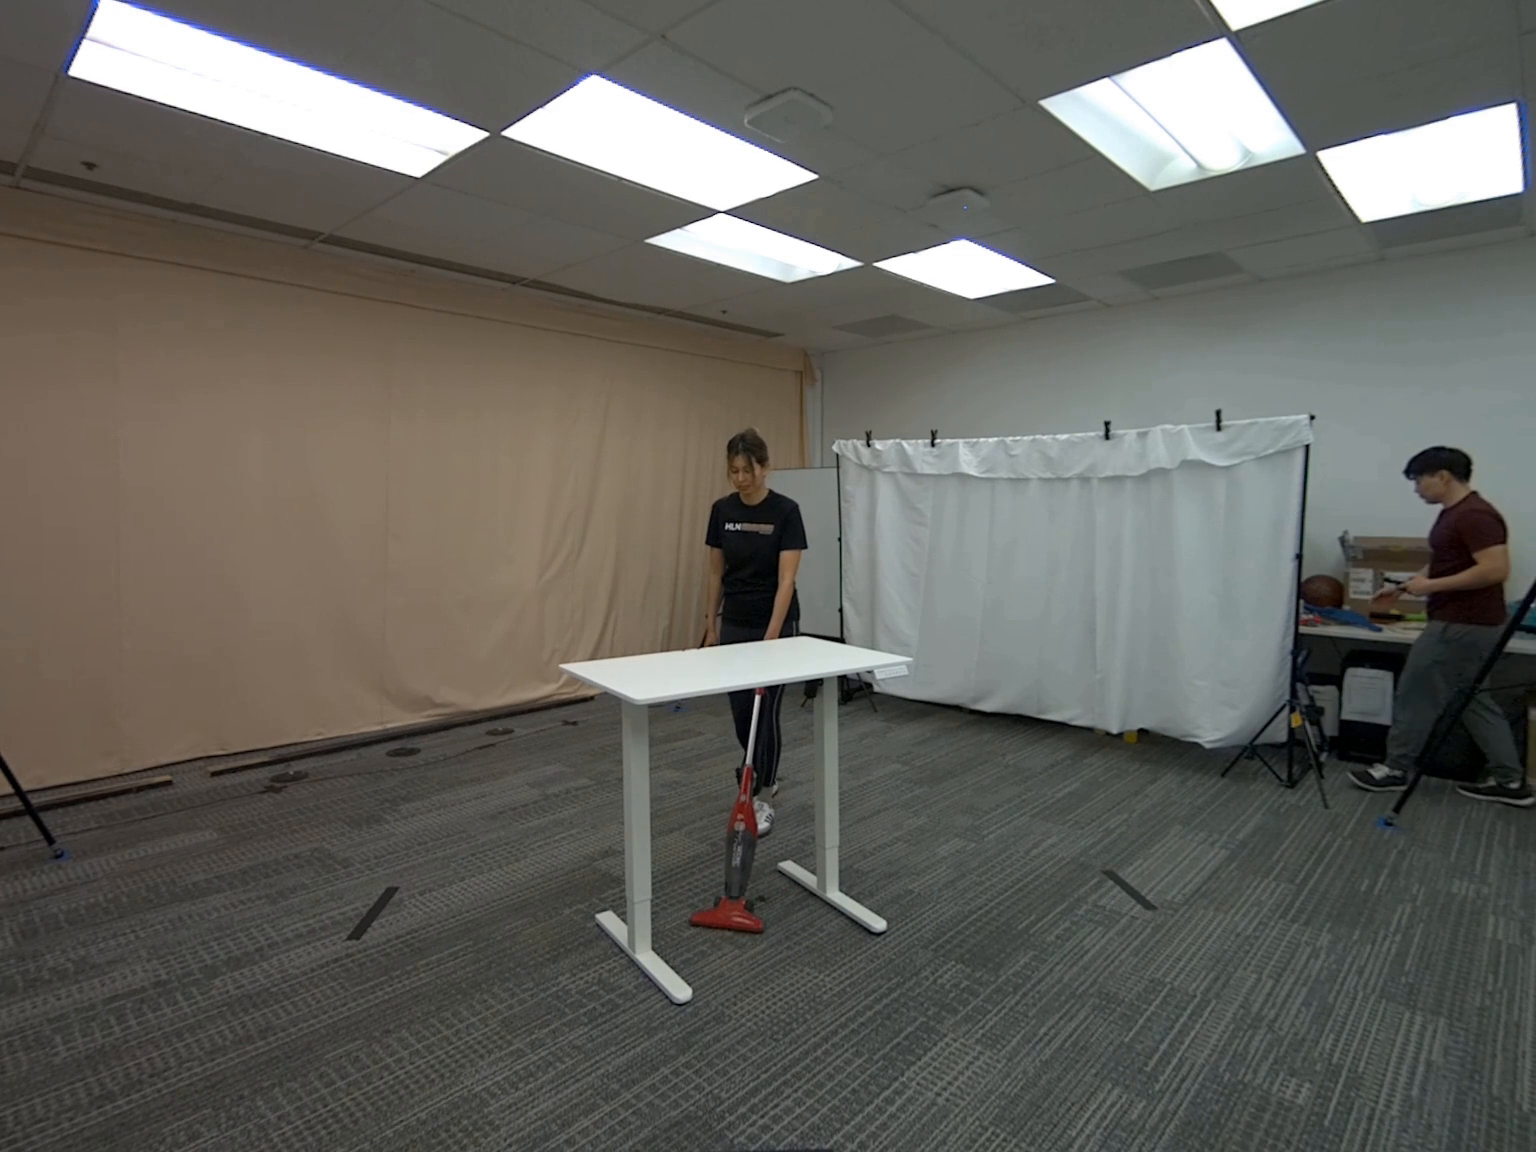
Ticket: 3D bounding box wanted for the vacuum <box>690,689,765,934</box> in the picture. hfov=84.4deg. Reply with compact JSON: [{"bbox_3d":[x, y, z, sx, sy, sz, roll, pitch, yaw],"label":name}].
[{"bbox_3d":[-0.058,0.742,3.145,0.255,1.062,0.141,3,-40,7],"label":"vacuum"}]
